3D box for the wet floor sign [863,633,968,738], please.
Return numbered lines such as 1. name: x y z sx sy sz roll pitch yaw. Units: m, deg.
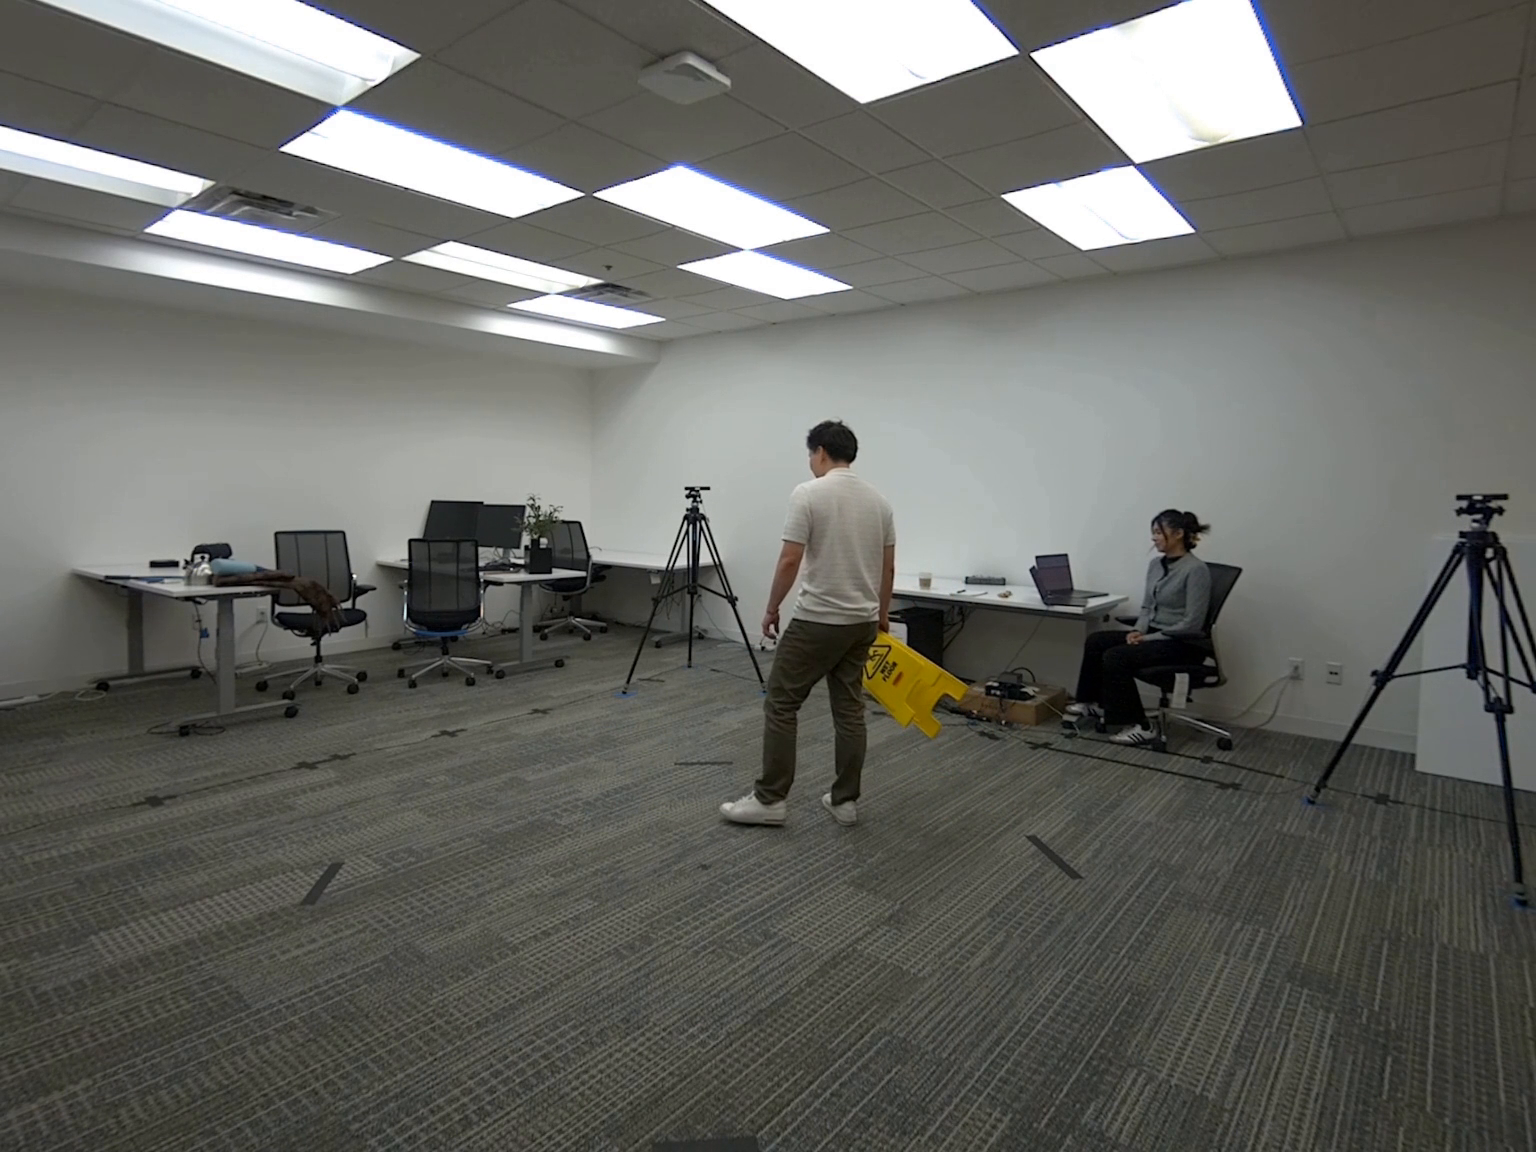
1. wet floor sign: 0.508 0.390 3.802 0.674 0.282 0.278 38 7 40
